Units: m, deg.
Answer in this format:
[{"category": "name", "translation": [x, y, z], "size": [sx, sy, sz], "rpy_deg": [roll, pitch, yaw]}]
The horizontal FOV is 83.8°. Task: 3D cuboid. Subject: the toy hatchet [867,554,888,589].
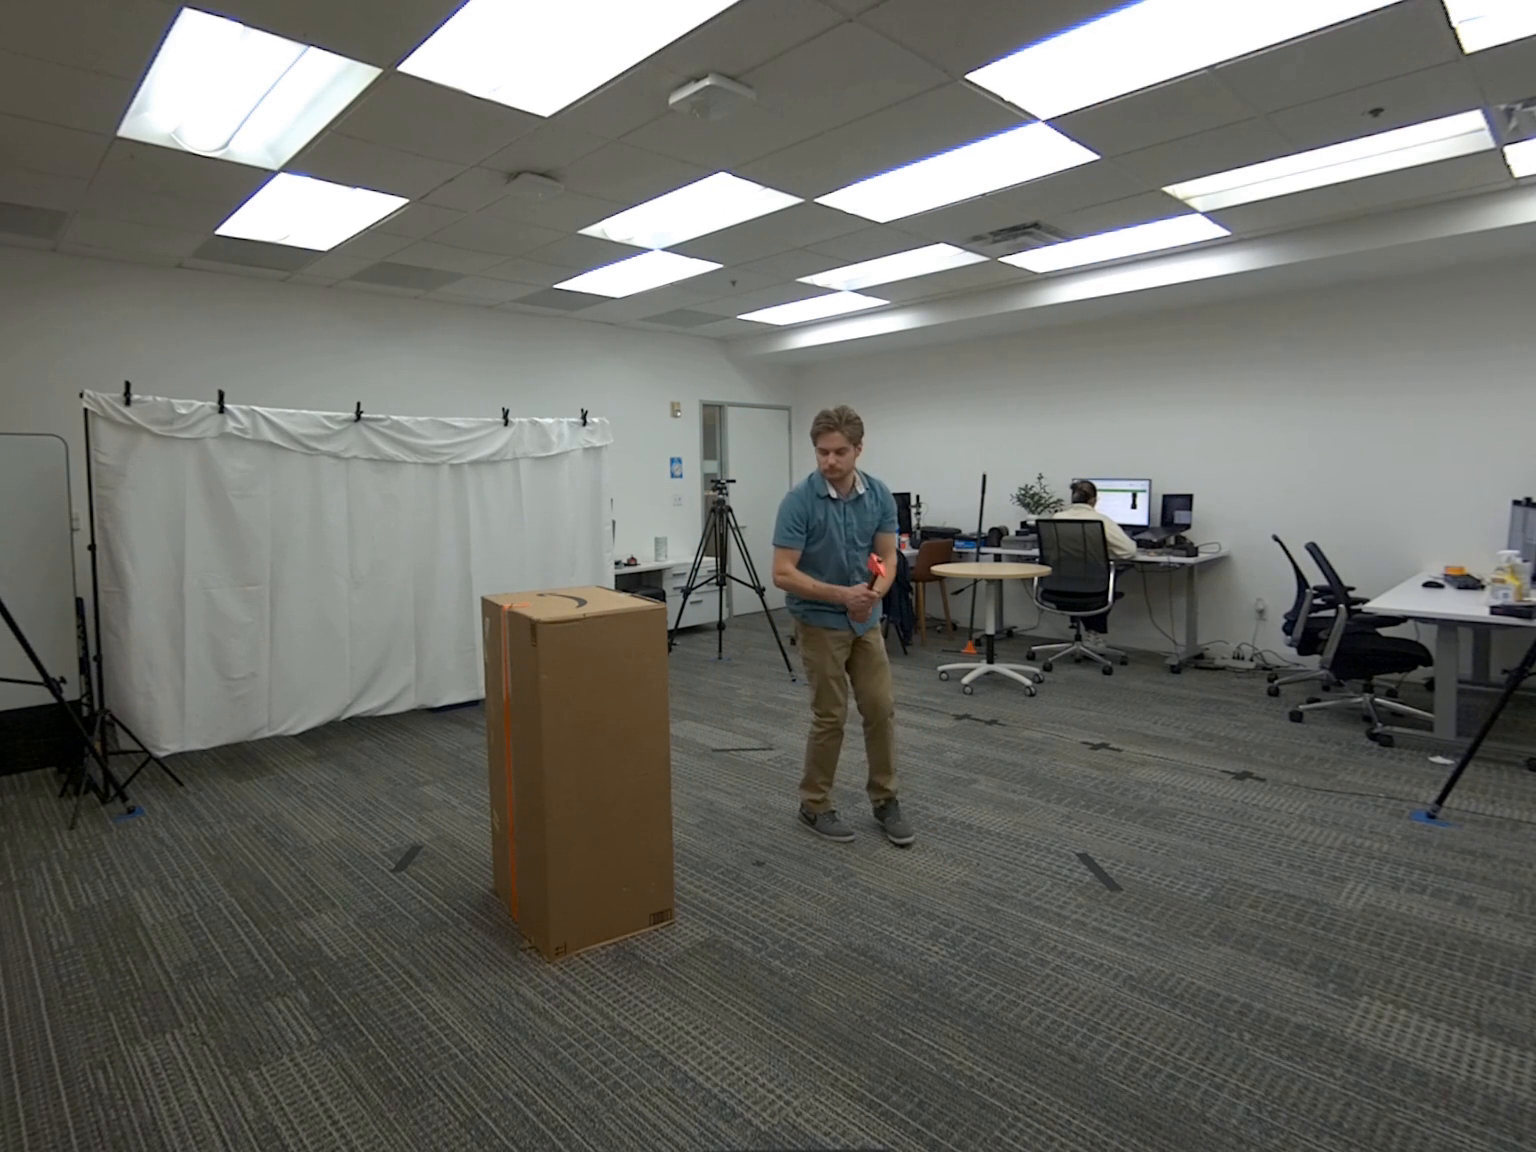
[{"category": "toy hatchet", "translation": [0.347, 0.030, 3.046], "size": [0.029, 0.135, 0.266], "rpy_deg": [0, -34, -19]}]
